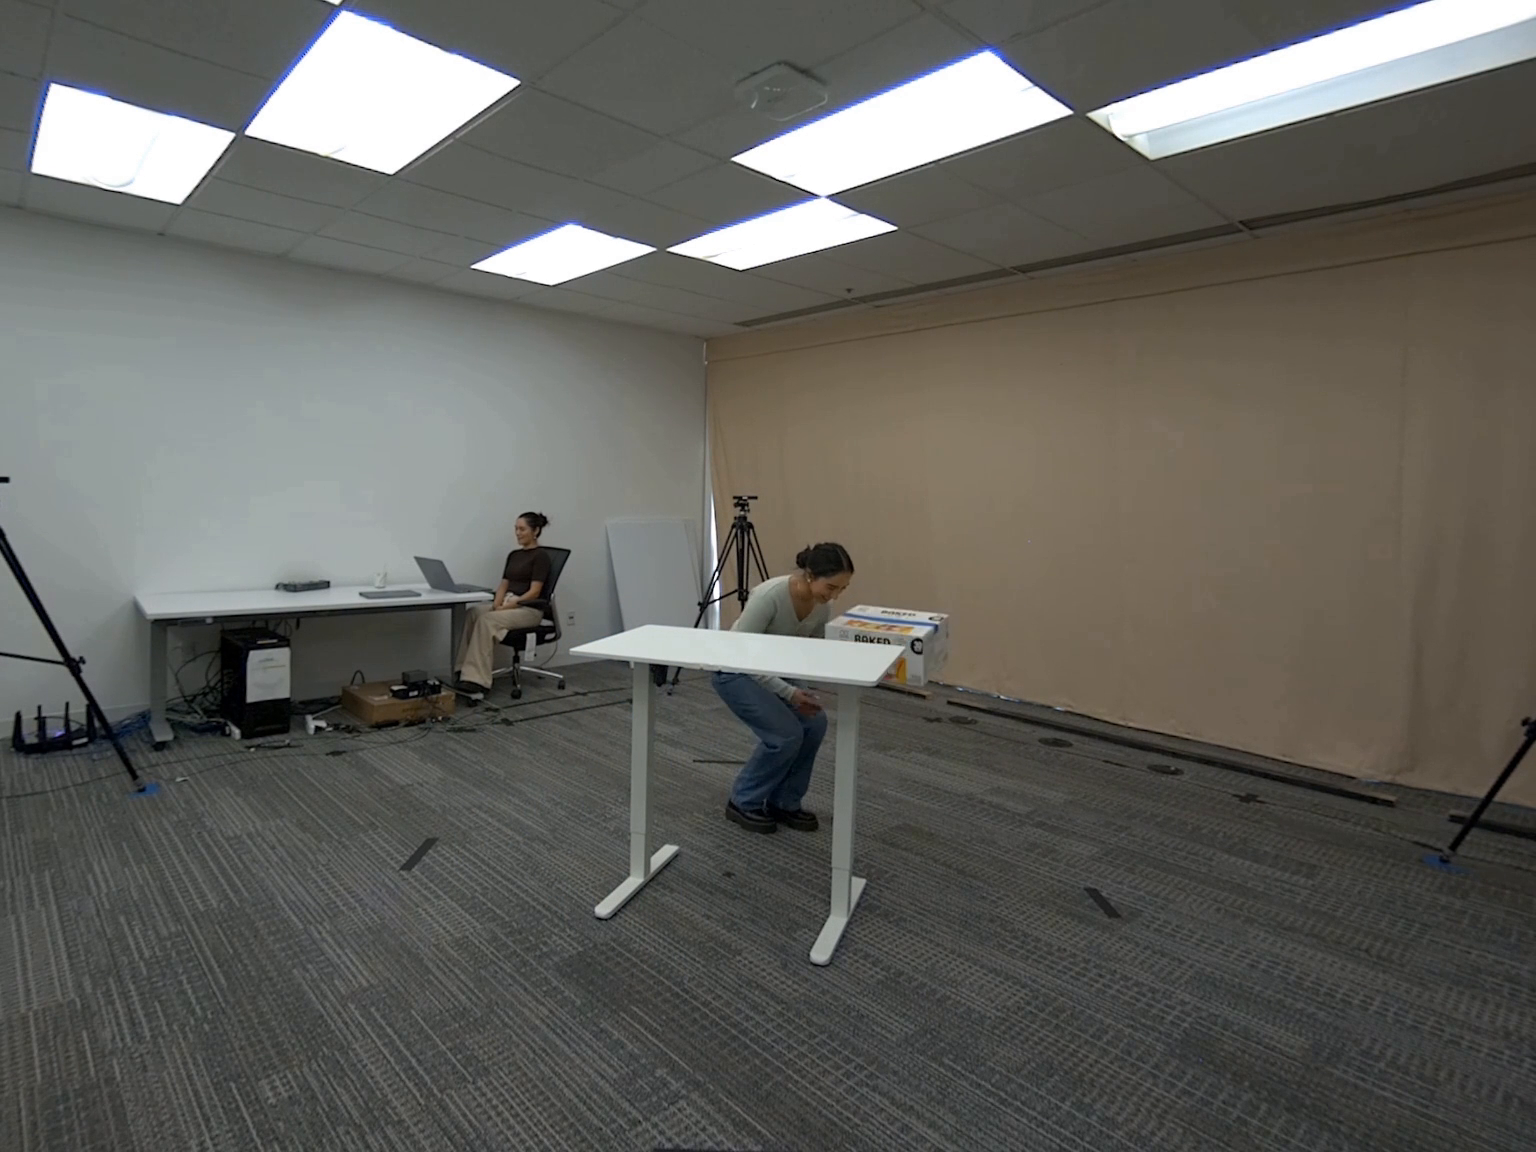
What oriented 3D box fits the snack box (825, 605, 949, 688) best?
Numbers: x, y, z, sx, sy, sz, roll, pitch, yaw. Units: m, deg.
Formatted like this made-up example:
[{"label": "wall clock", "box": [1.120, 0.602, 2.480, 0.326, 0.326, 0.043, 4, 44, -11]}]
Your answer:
[{"label": "snack box", "box": [0.484, 0.273, 3.430, 0.414, 0.204, 0.336, 5, 14, 30]}]
